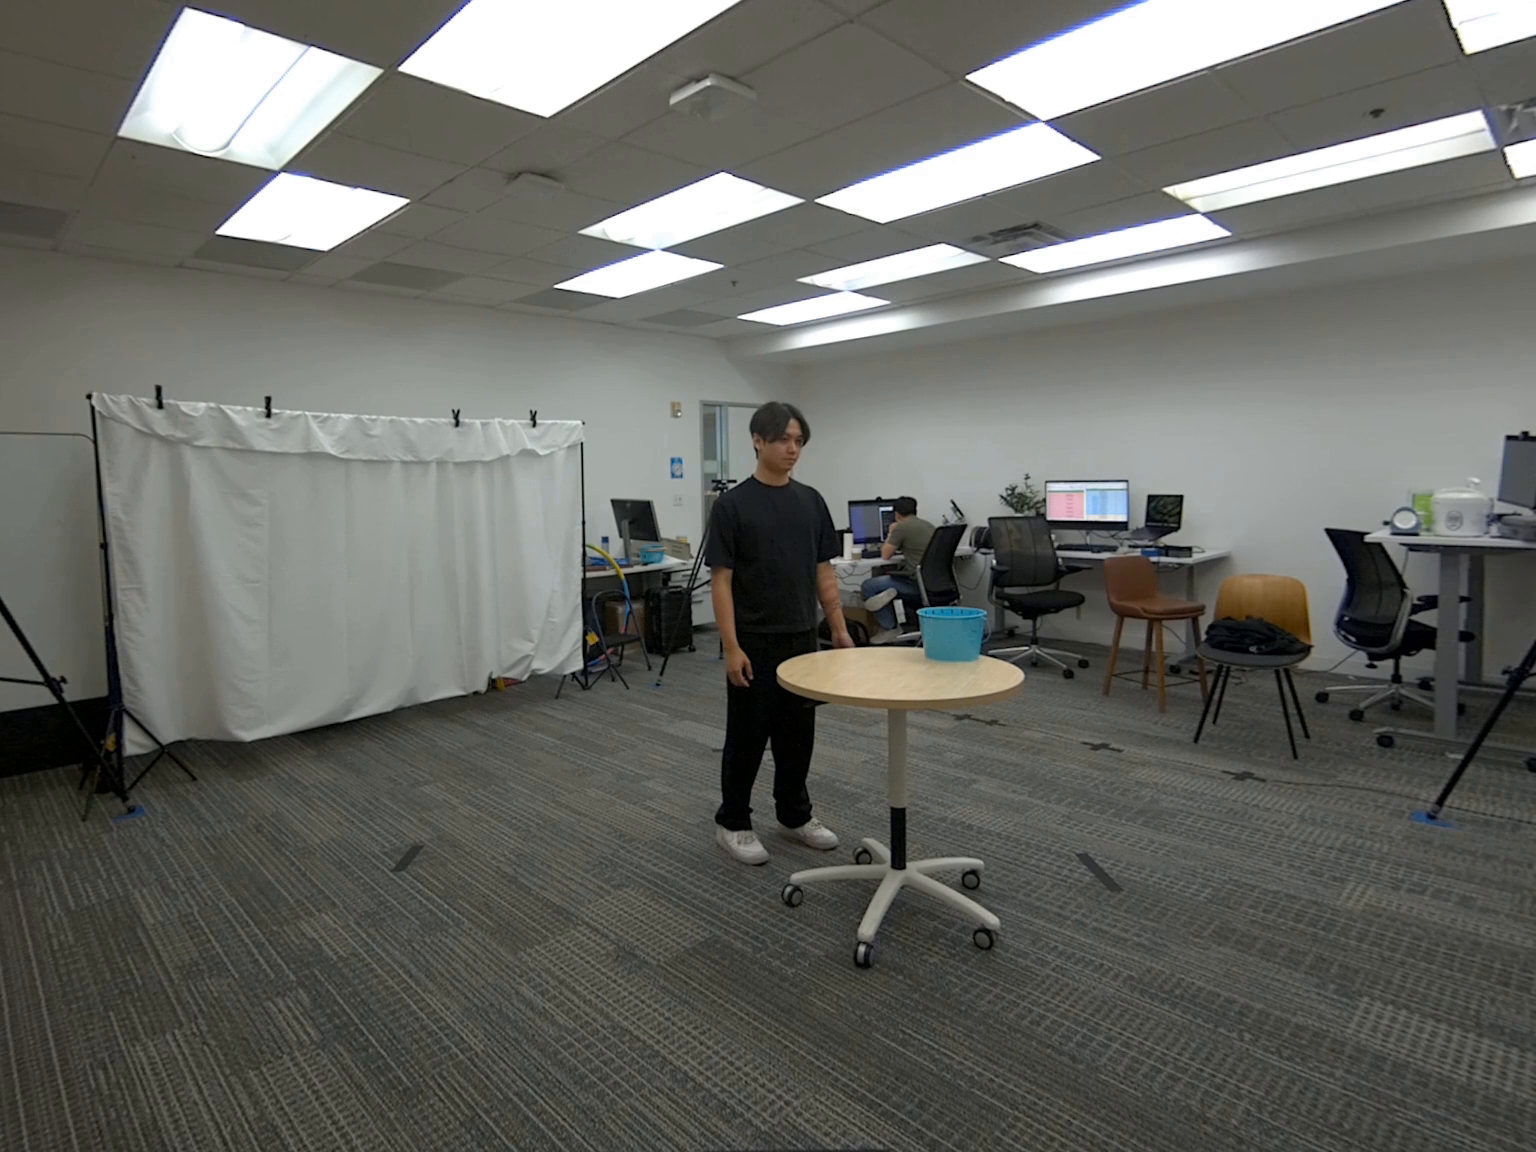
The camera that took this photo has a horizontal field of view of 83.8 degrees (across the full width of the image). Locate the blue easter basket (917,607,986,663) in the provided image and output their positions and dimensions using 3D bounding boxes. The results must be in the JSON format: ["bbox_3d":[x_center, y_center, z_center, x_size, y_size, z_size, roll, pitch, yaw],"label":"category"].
[{"bbox_3d":[0.650,0.203,2.899,0.243,0.155,0.245,-2,6,-2],"label":"blue easter basket"}]
